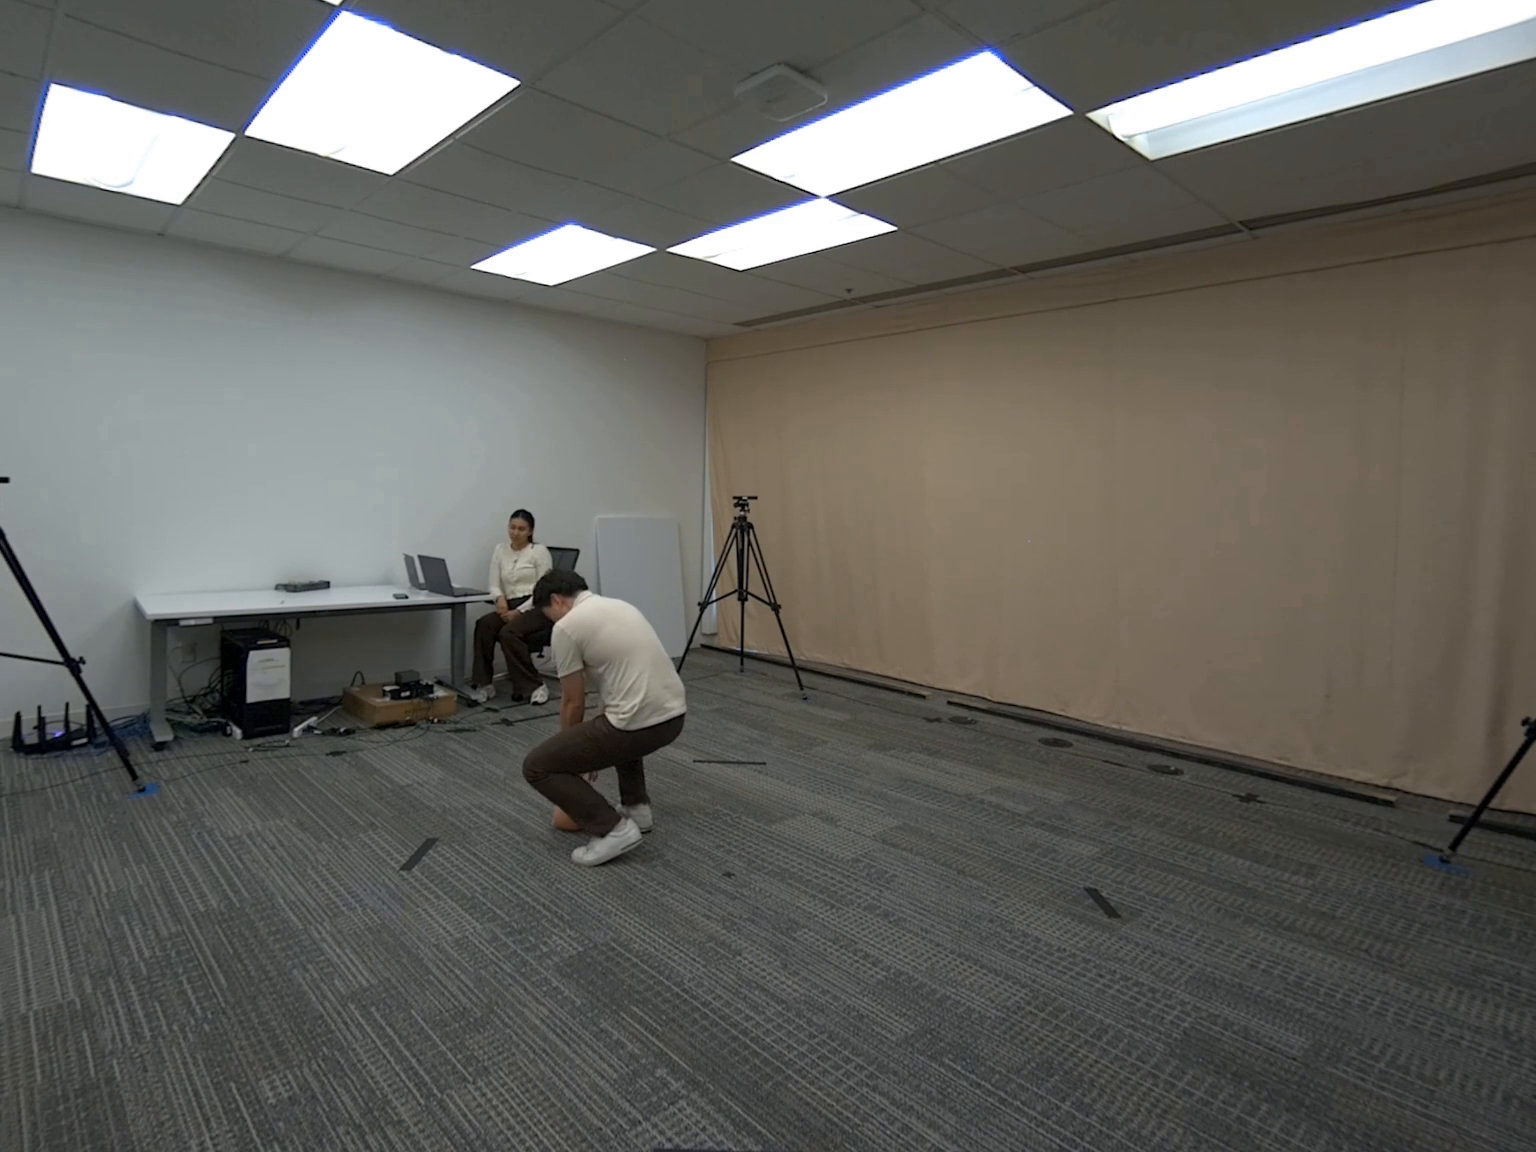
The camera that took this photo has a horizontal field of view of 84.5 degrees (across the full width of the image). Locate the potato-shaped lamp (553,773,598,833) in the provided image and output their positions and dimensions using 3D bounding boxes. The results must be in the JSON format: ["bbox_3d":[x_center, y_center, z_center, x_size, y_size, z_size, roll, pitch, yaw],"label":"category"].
[{"bbox_3d":[-0.816,0.953,3.519,0.175,0.198,0.161,6,3,34],"label":"potato-shaped lamp"}]
